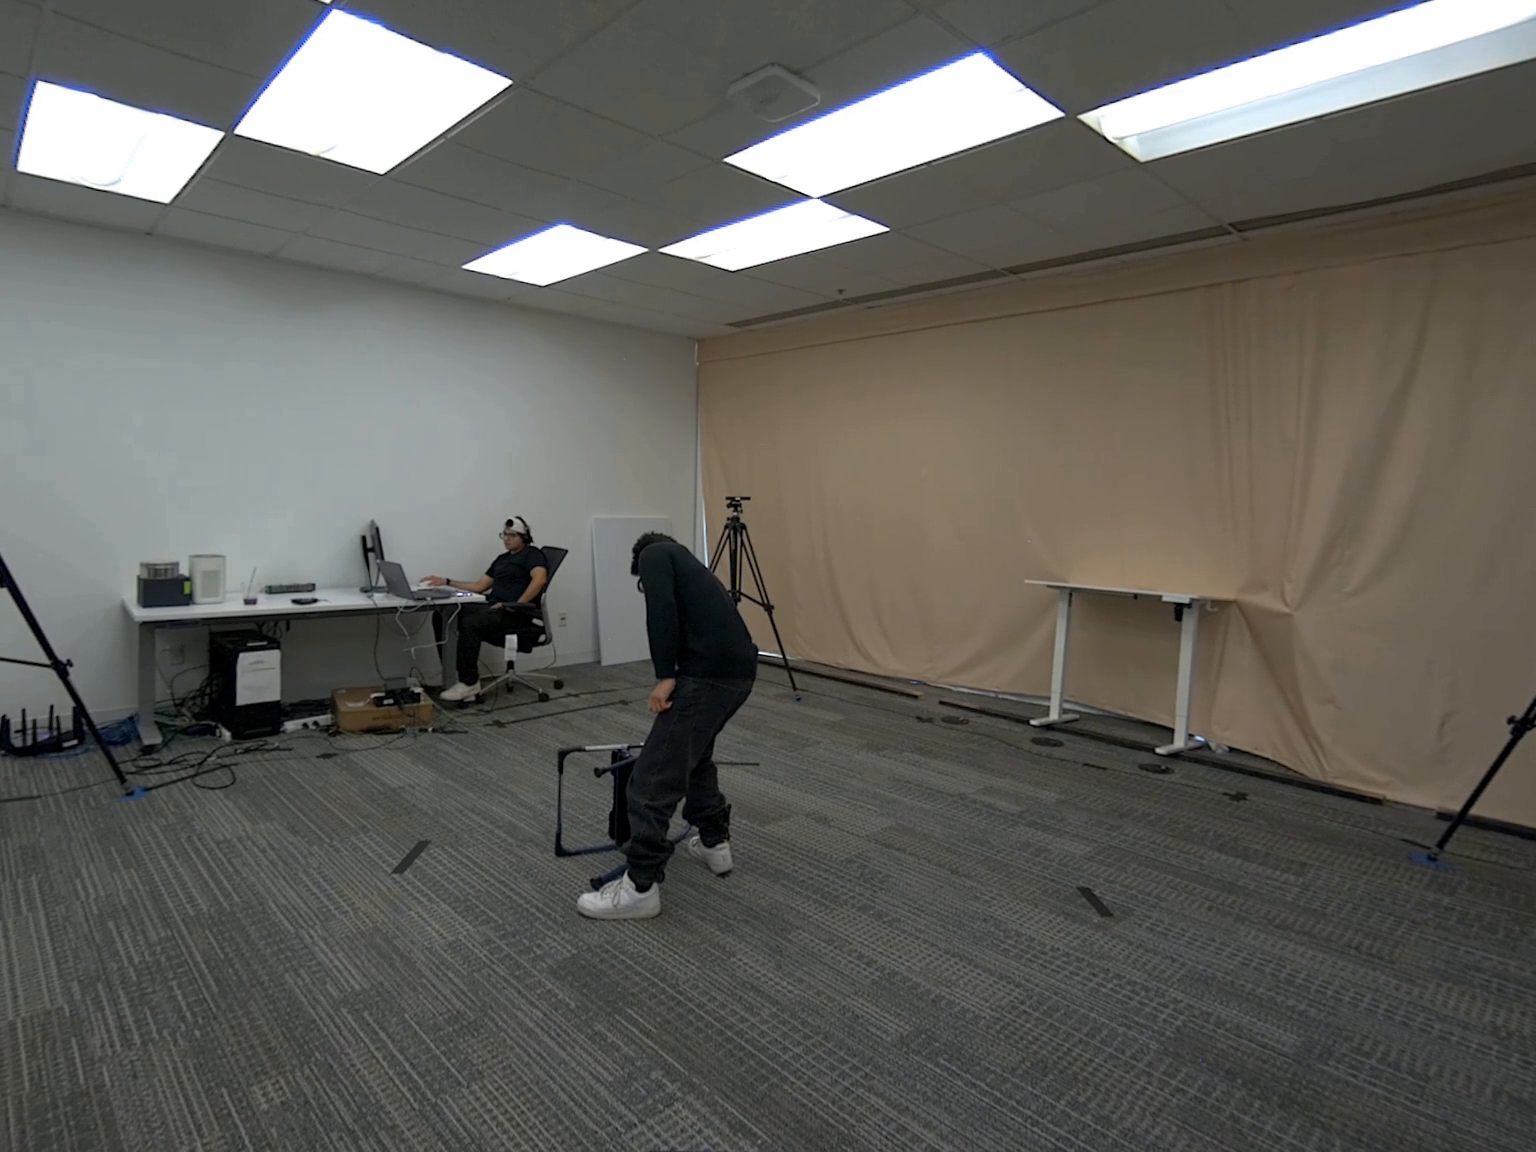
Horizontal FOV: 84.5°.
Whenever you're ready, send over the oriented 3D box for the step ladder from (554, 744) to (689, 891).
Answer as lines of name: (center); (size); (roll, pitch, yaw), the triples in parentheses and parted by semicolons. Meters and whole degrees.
step ladder: (-0.487, 0.874, 3.278); (0.592, 0.430, 0.358); (0, 4, -39)
